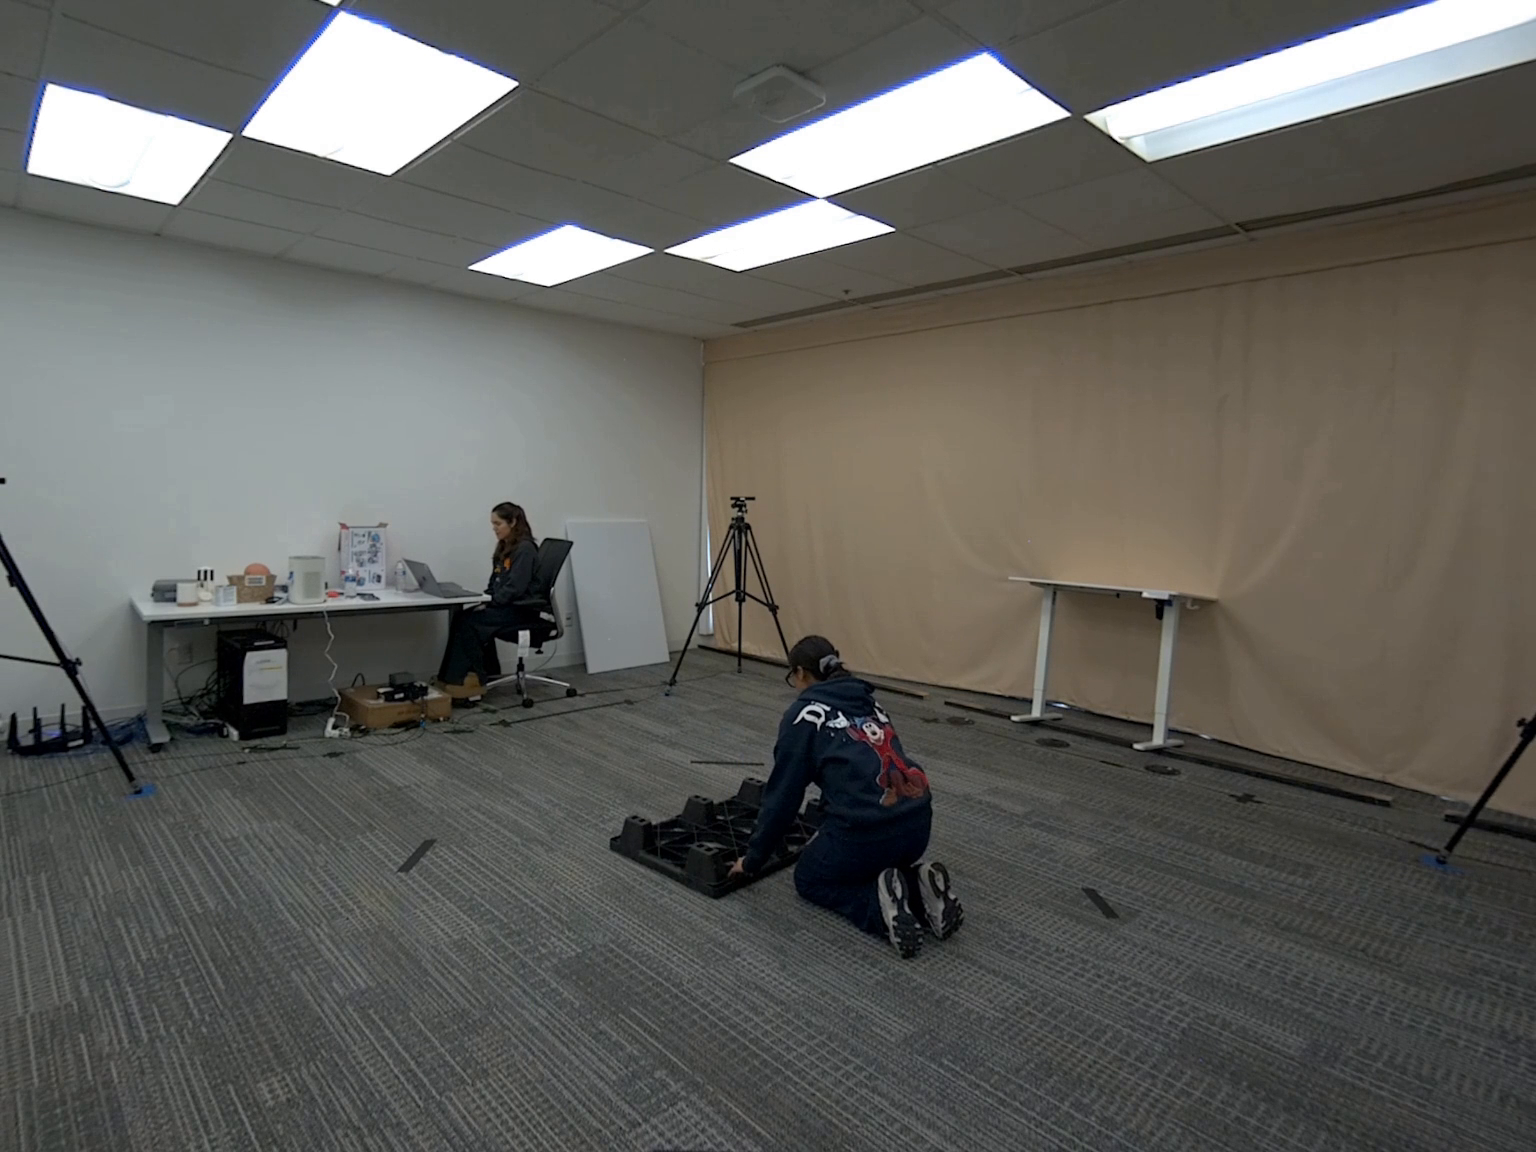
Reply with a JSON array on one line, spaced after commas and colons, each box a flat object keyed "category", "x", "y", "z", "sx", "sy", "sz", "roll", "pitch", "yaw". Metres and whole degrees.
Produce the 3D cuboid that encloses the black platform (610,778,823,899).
[{"category": "black platform", "x": -0.153, "y": 1.015, "z": 3.397, "sx": 0.620, "sy": 0.143, "sz": 0.787, "roll": 5, "pitch": 6, "yaw": 41}]
